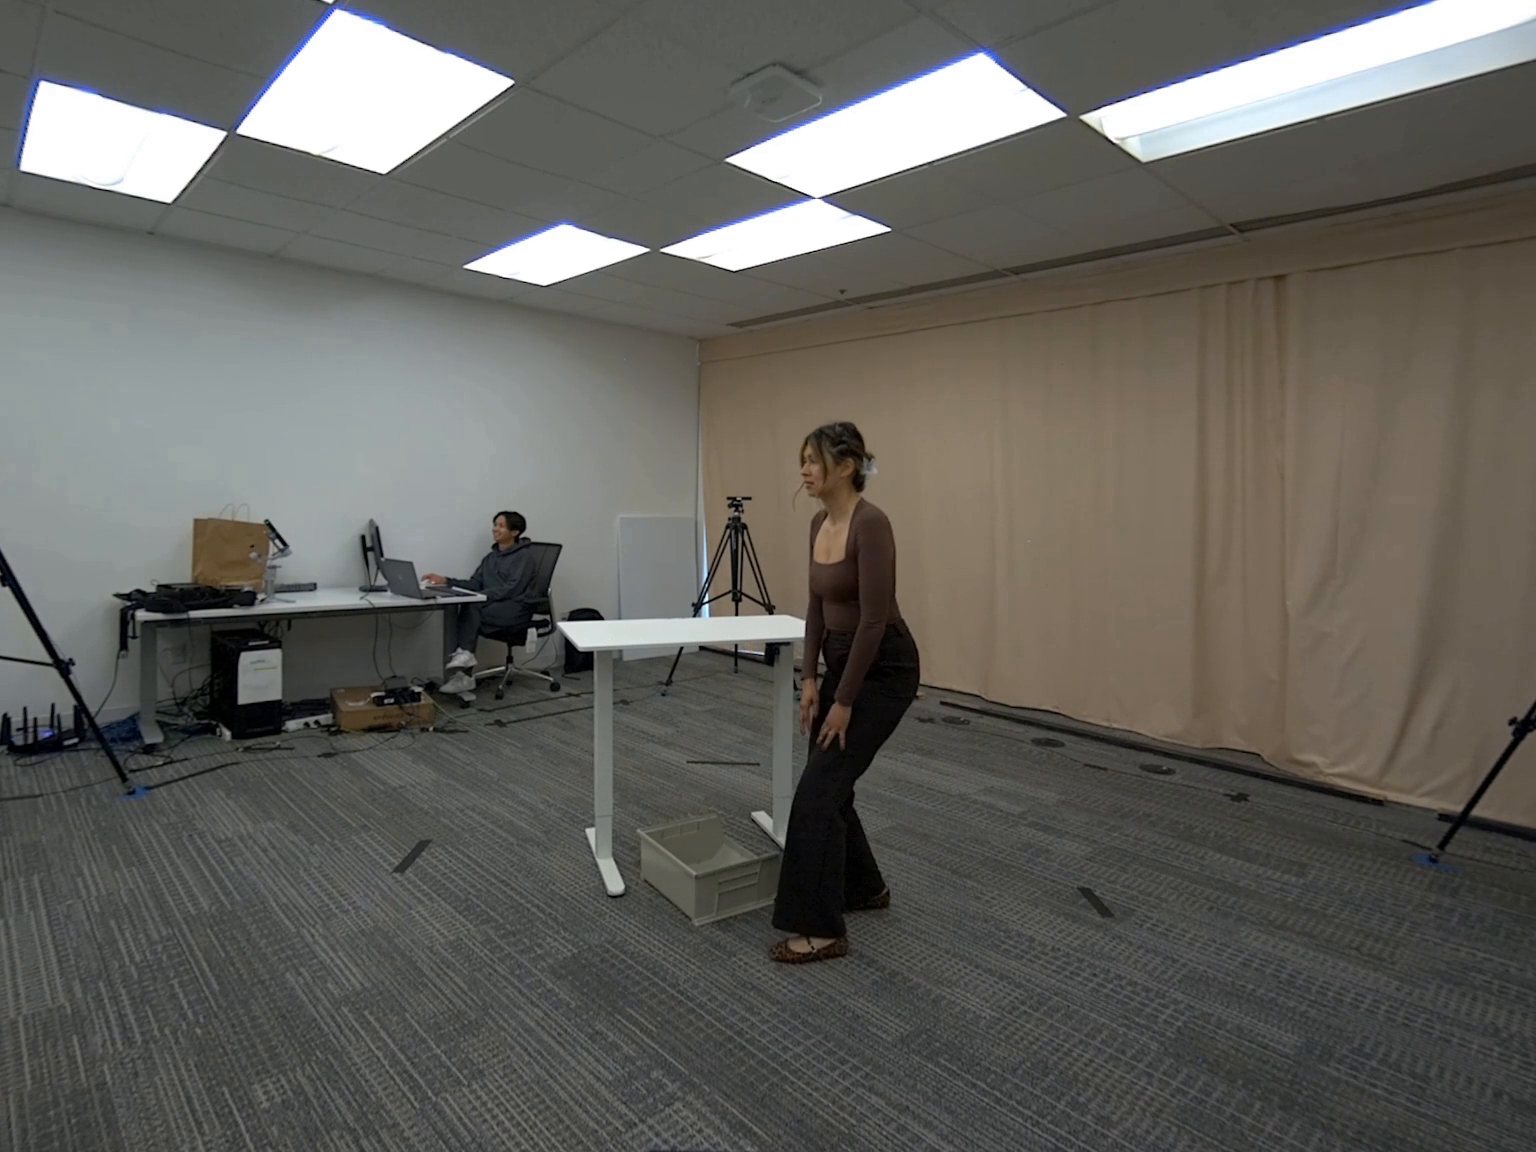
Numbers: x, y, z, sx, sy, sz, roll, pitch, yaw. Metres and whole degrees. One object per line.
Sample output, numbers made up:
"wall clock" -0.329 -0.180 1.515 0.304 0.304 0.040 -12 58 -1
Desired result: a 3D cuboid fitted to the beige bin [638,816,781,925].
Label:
"beige bin" -0.213 1.031 2.990 0.369 0.188 0.433 -4 8 -34
